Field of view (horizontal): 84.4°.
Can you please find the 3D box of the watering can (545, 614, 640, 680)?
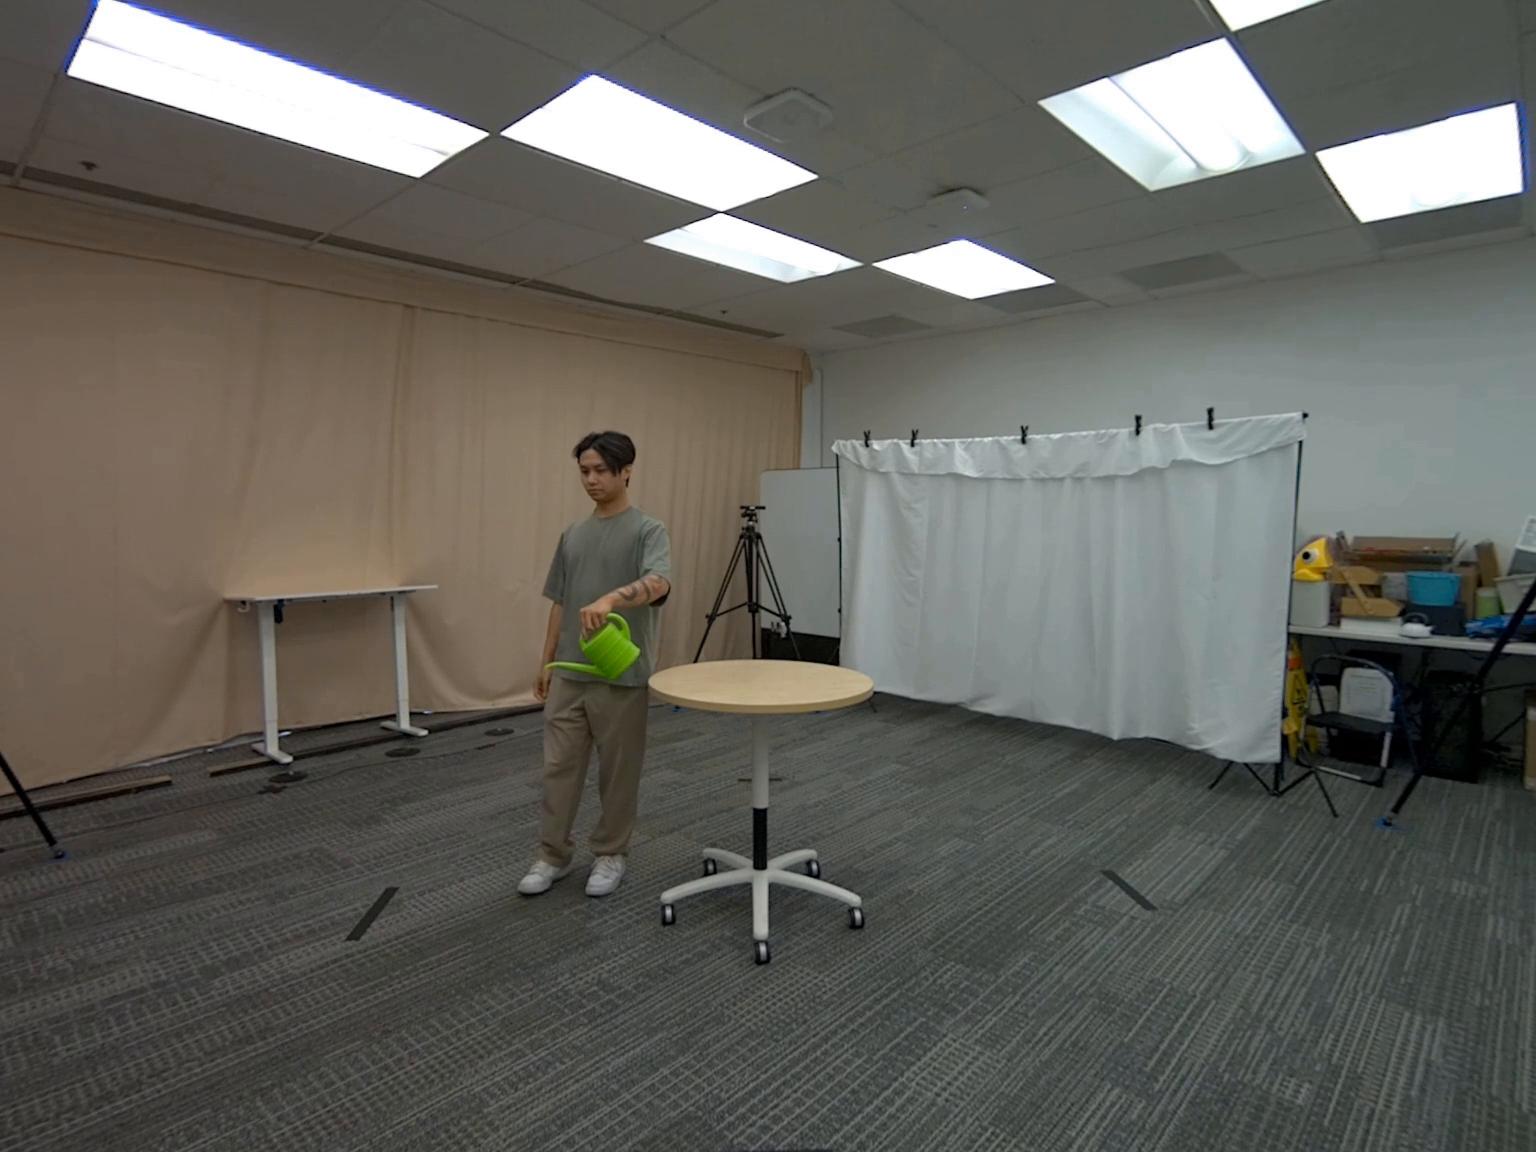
[{"bbox_3d":[-0.532,0.247,2.626,0.279,0.175,0.098,-40,9,12],"label":"watering can"}]
